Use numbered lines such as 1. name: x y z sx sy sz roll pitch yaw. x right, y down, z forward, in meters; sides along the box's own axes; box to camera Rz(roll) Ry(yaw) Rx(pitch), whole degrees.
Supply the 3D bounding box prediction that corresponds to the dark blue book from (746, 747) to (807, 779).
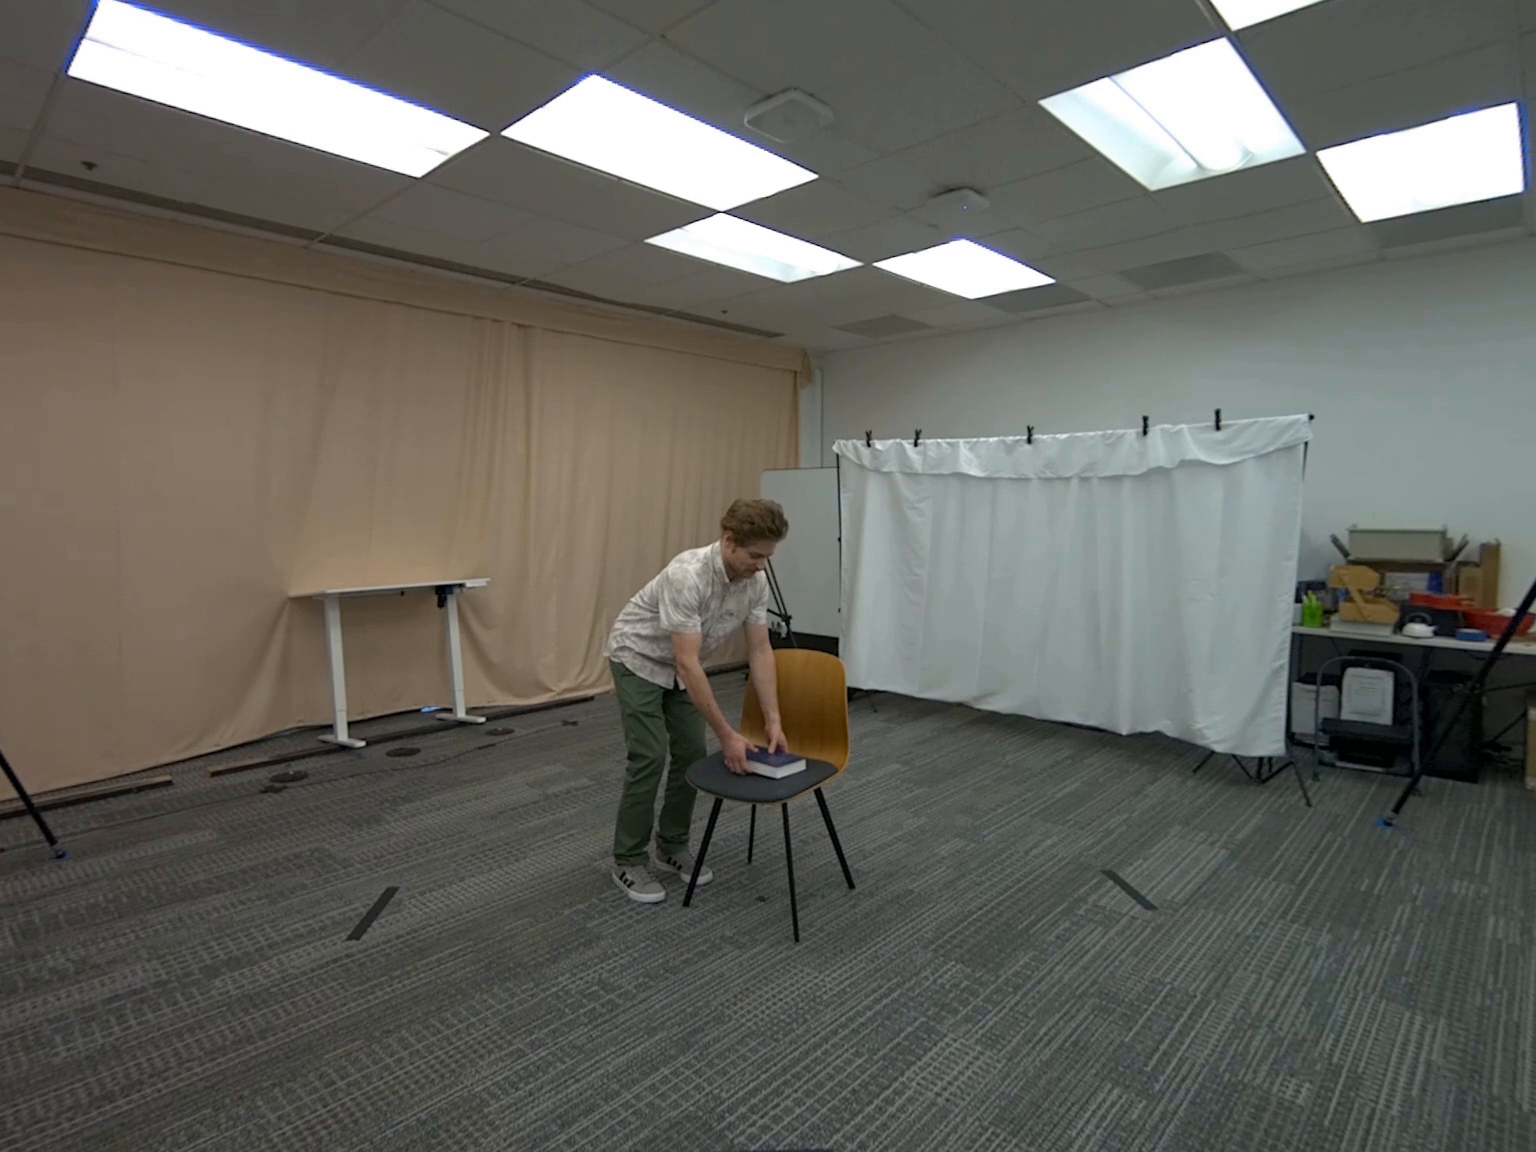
1. dark blue book: -0.008 0.637 2.917 0.253 0.045 0.158 4 5 41
